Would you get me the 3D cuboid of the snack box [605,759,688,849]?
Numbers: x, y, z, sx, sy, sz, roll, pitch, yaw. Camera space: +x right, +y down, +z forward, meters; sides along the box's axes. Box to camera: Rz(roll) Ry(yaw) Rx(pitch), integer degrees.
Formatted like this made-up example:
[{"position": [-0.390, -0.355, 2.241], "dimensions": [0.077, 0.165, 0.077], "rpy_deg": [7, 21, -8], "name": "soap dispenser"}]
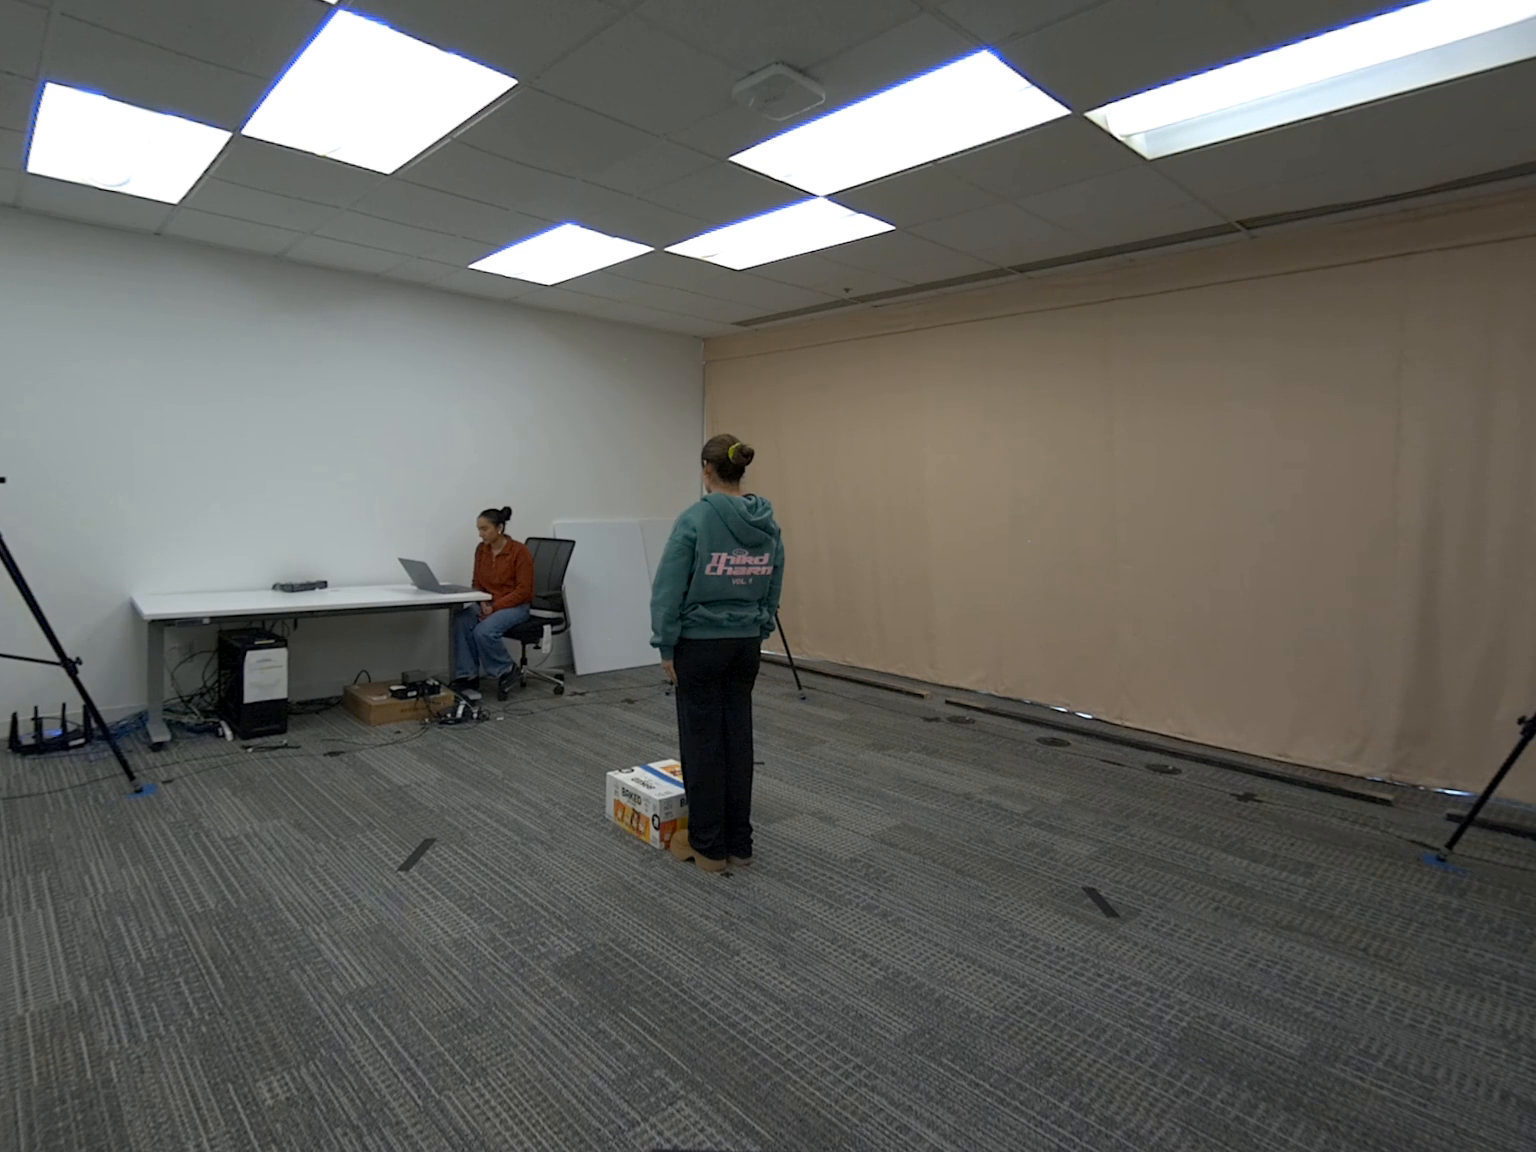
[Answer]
[{"position": [-0.443, 0.955, 3.560], "dimensions": [0.332, 0.205, 0.415], "rpy_deg": [-2, 6, -40], "name": "snack box"}]
